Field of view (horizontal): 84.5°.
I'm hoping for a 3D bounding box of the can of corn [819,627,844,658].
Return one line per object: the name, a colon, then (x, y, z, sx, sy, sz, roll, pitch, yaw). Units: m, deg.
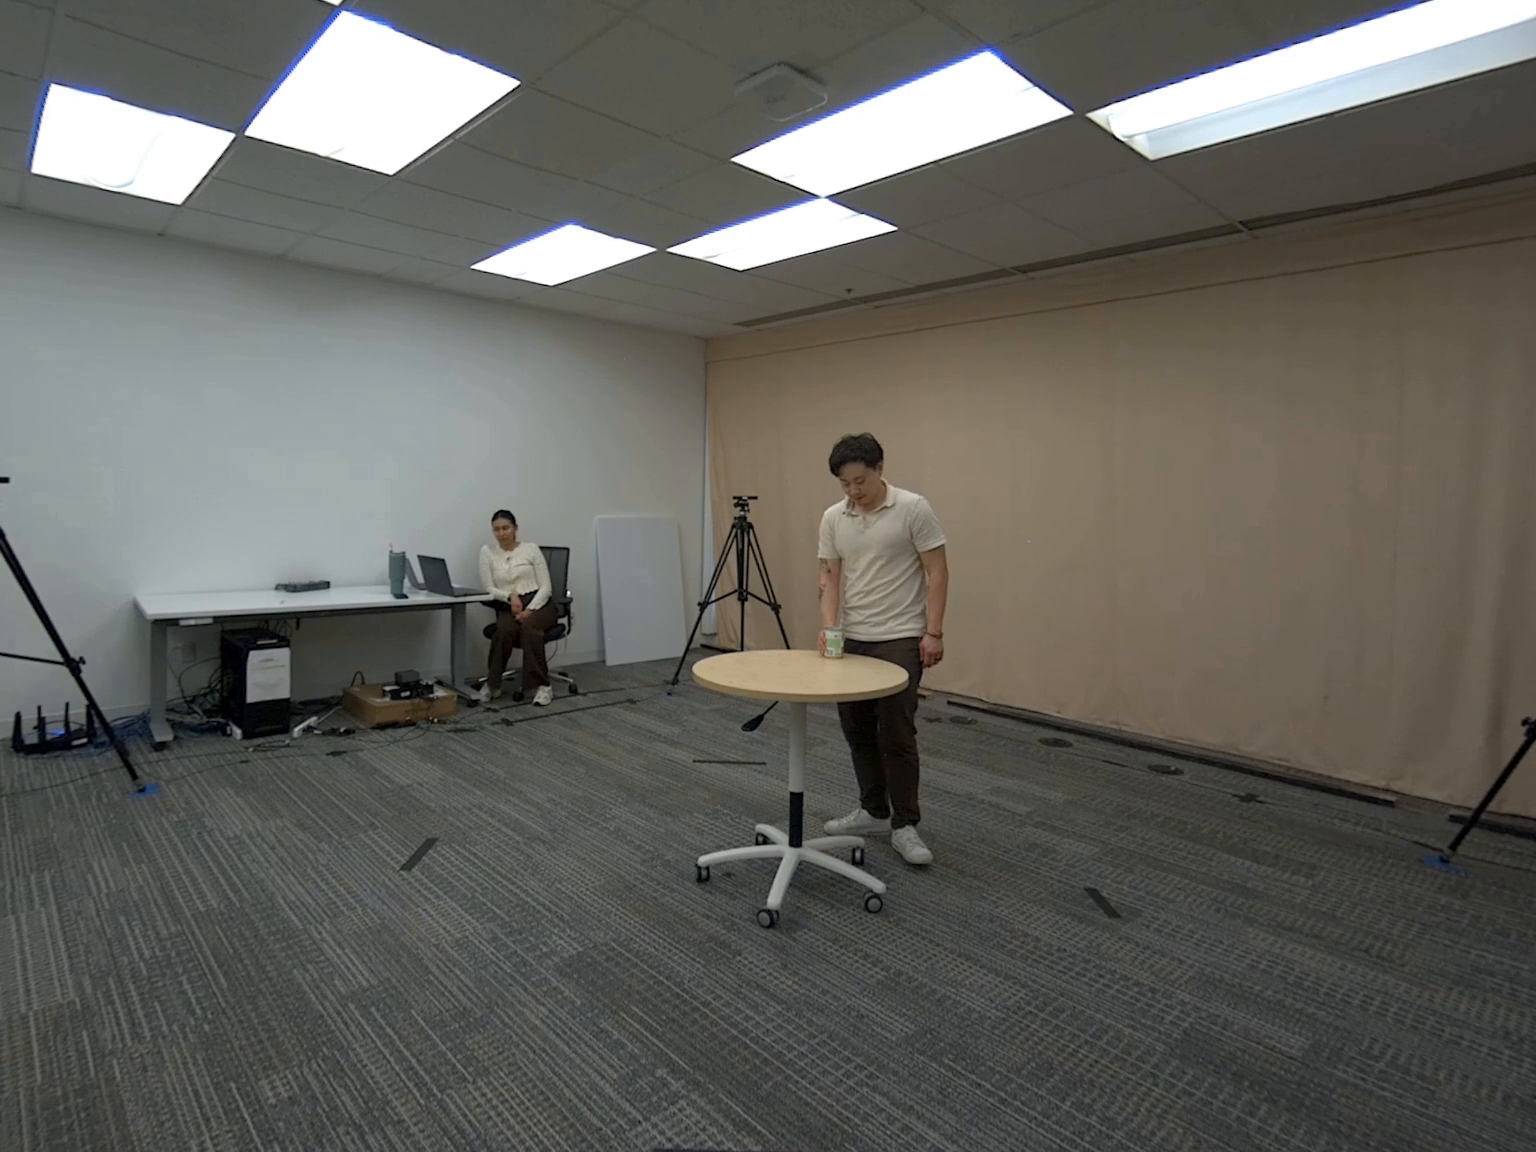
can of corn: (0.246, 0.263, 3.240, 0.074, 0.111, 0.074, 2, 2, -1)
